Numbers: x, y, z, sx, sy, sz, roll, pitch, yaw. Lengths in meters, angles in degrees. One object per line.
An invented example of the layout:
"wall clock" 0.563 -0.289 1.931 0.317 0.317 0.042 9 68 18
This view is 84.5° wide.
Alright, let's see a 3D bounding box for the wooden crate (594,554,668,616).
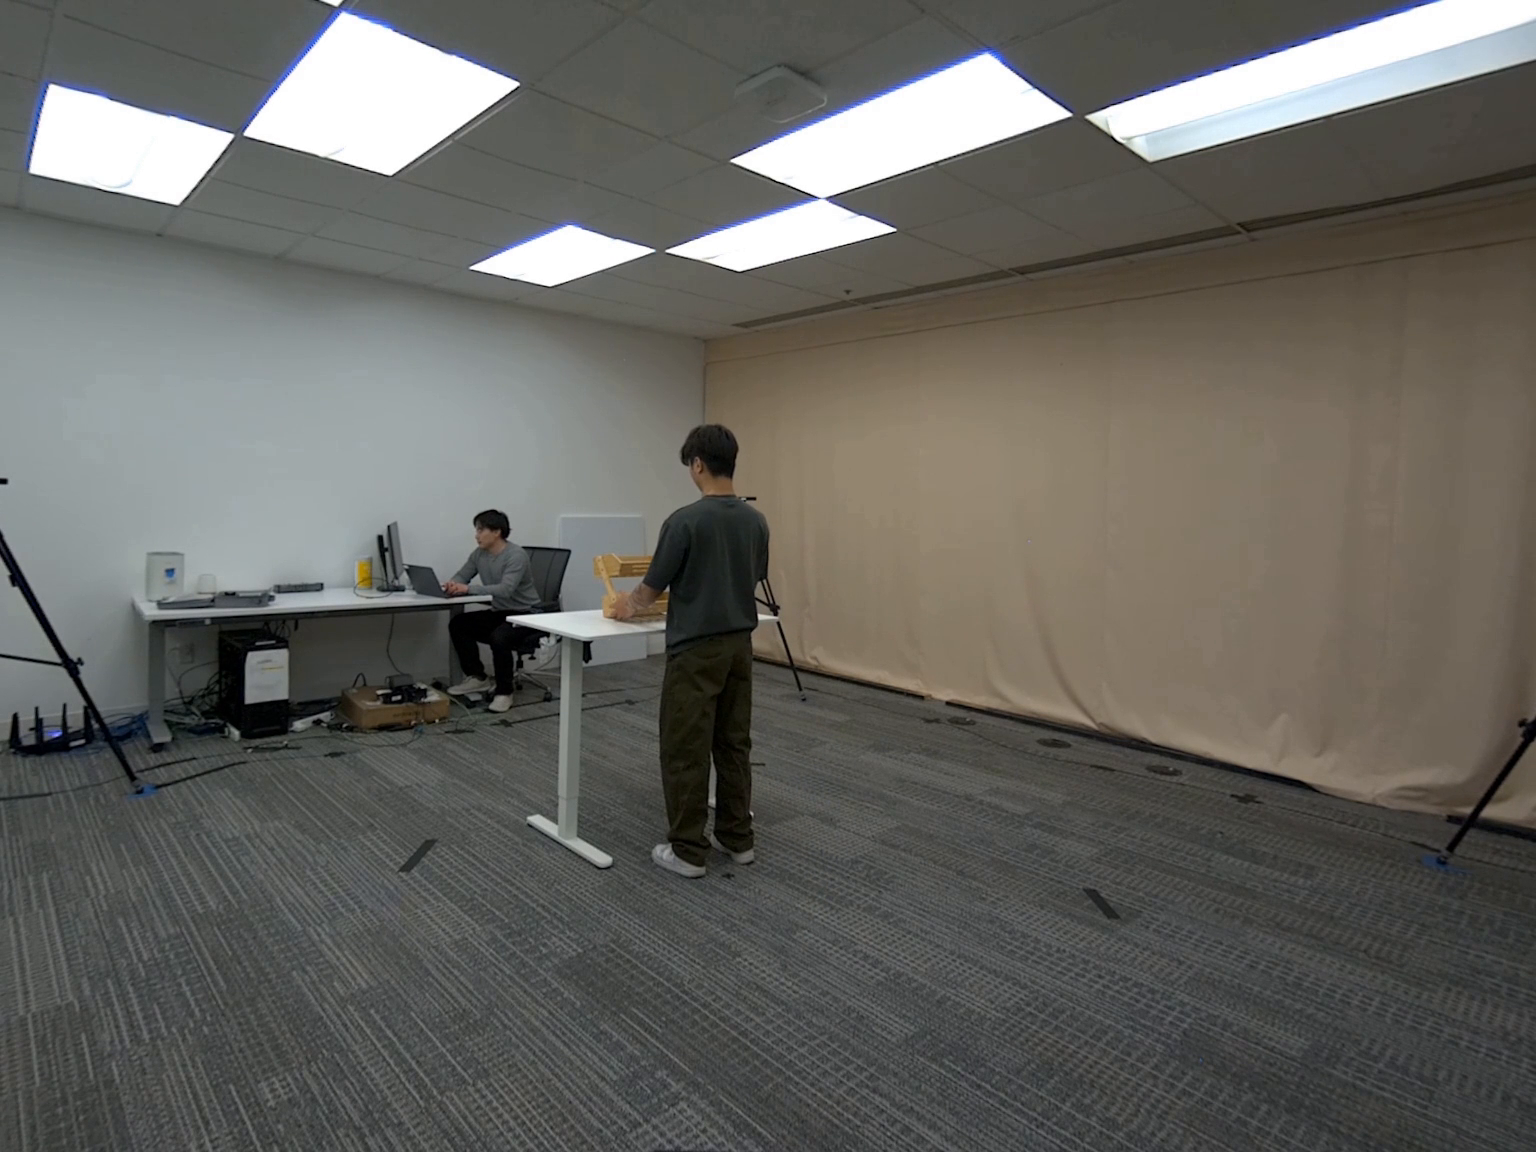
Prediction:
"wooden crate" -0.536 0.029 3.566 0.317 0.274 0.308 -1 -4 -42
